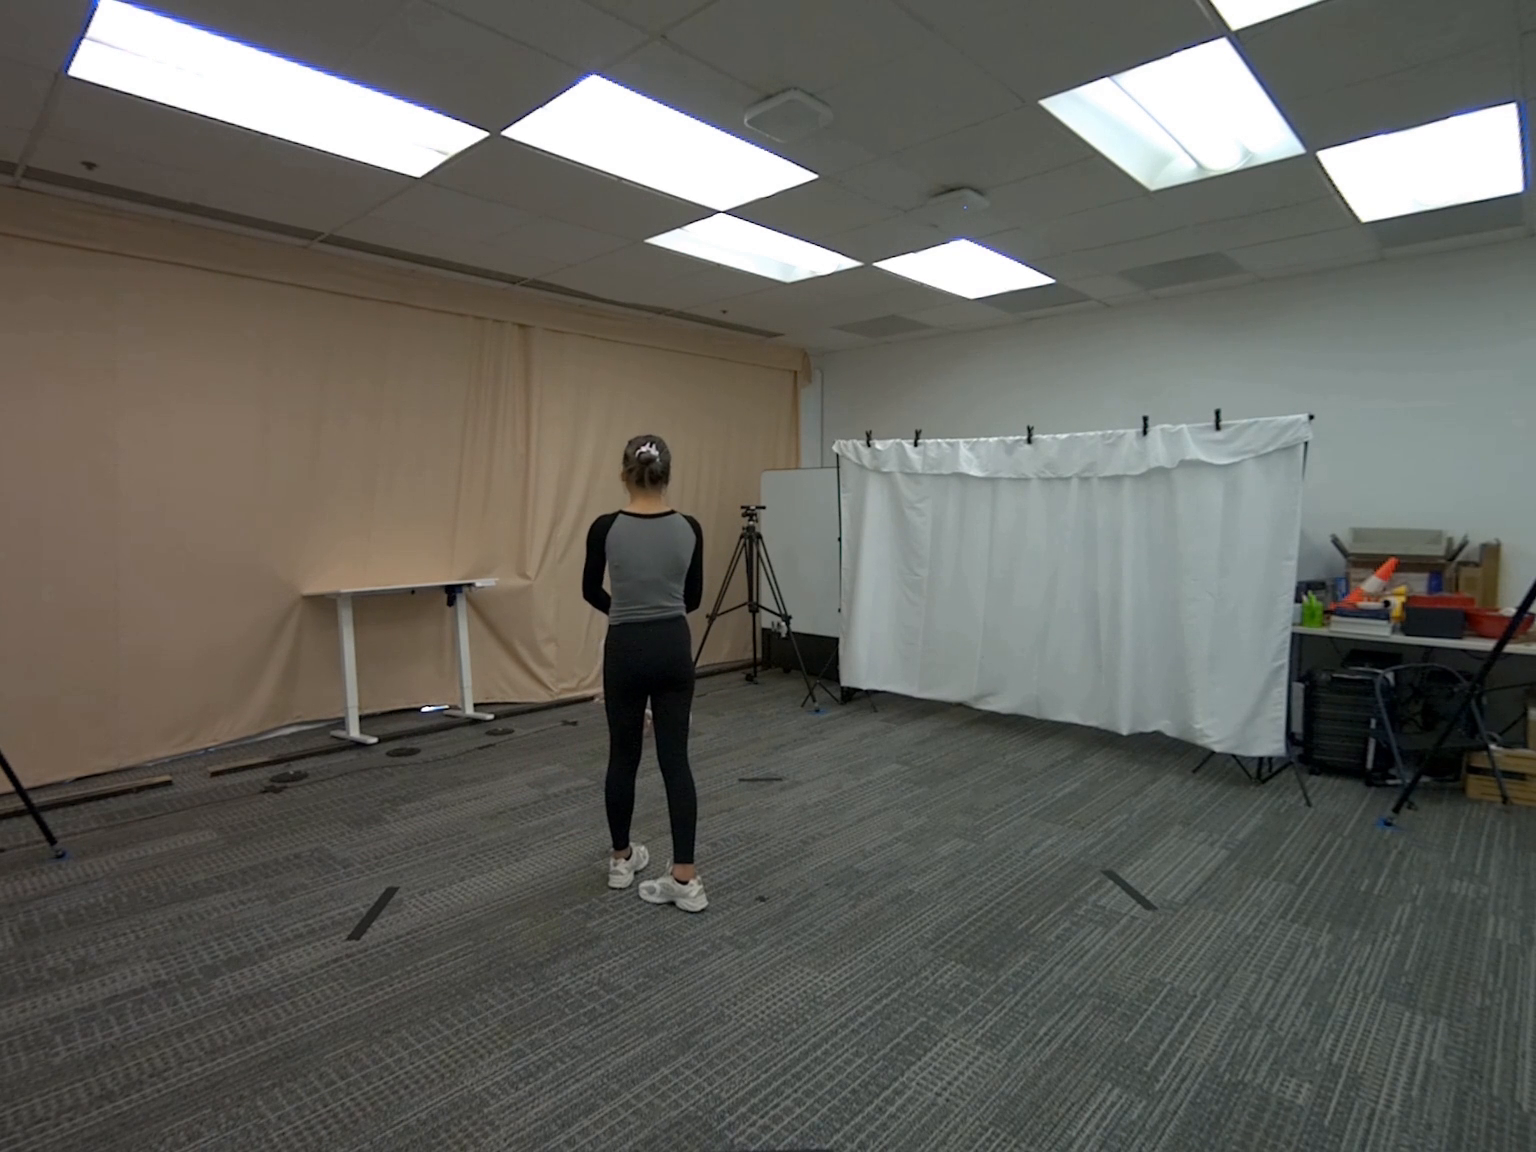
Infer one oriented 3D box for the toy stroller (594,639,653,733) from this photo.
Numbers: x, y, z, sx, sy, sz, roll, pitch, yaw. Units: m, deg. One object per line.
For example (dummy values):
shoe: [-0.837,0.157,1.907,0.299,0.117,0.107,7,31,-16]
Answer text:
toy stroller: [-0.547,0.460,3.392,0.348,0.542,0.273,-24,-15,29]
